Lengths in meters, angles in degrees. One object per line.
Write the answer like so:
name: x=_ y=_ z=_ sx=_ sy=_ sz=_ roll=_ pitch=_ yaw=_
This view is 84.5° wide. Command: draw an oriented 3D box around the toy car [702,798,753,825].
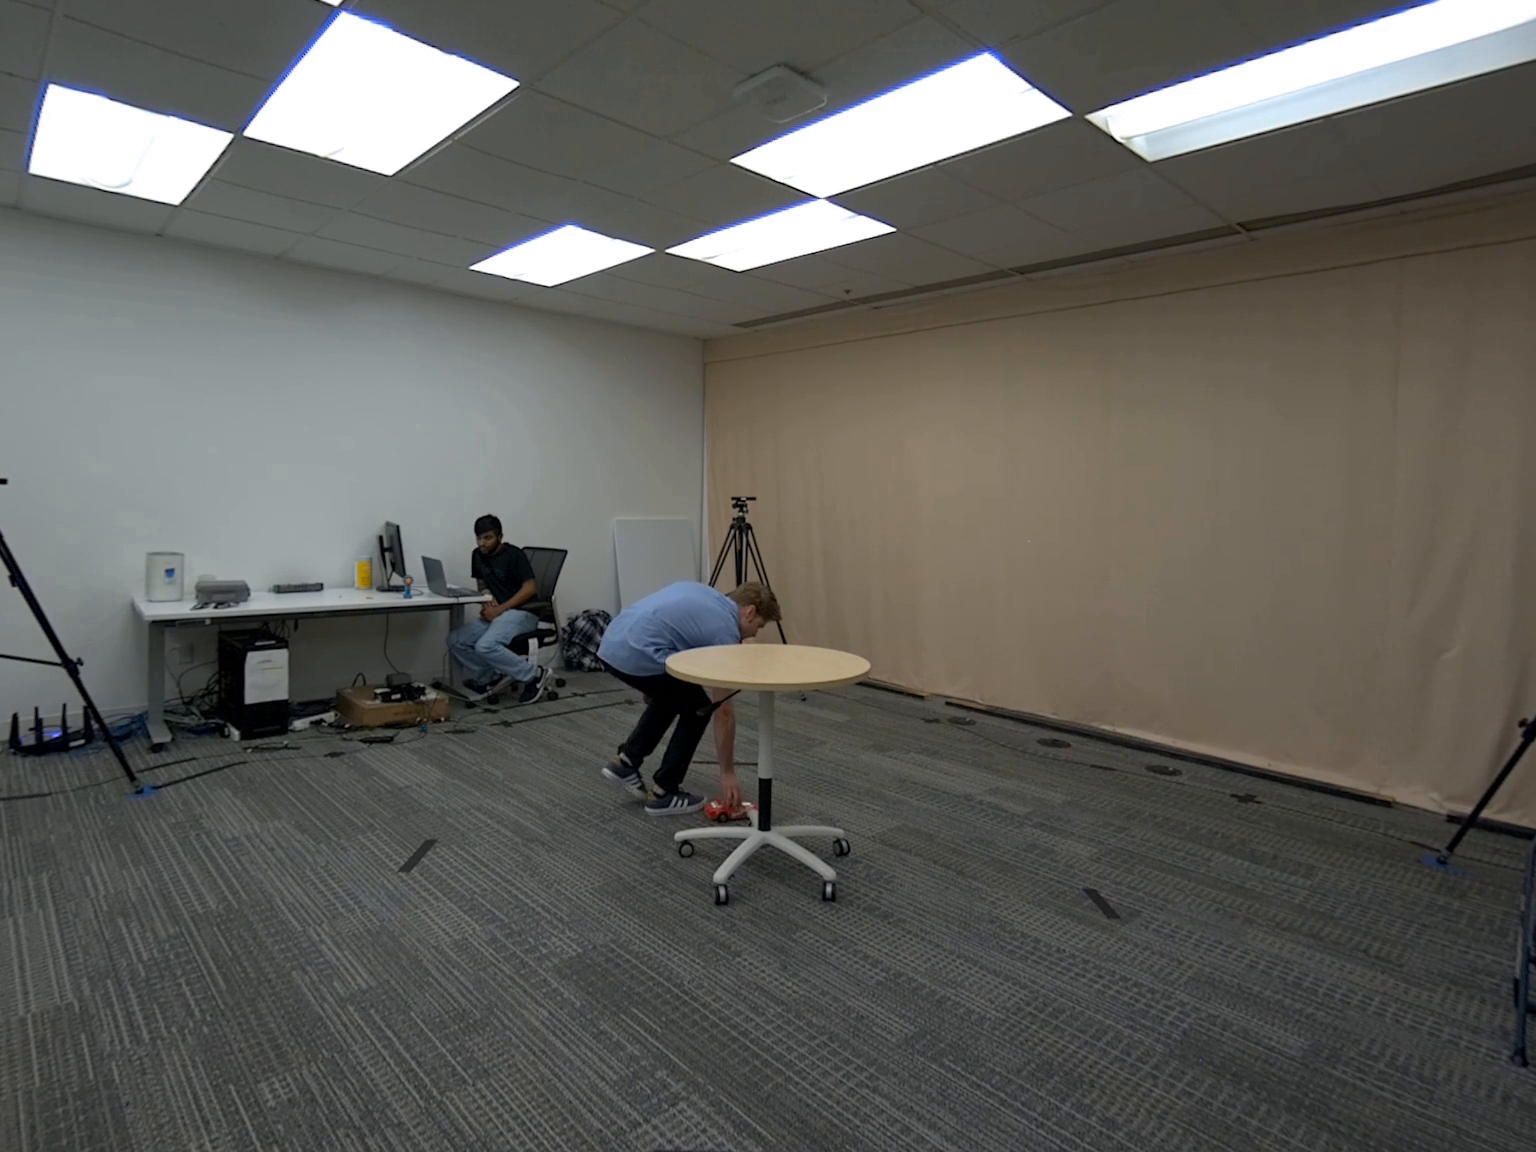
toy car: x=-0.171 y=1.027 z=3.681 sx=0.251 sy=0.083 sz=0.132 roll=11 pitch=1 yaw=-15
